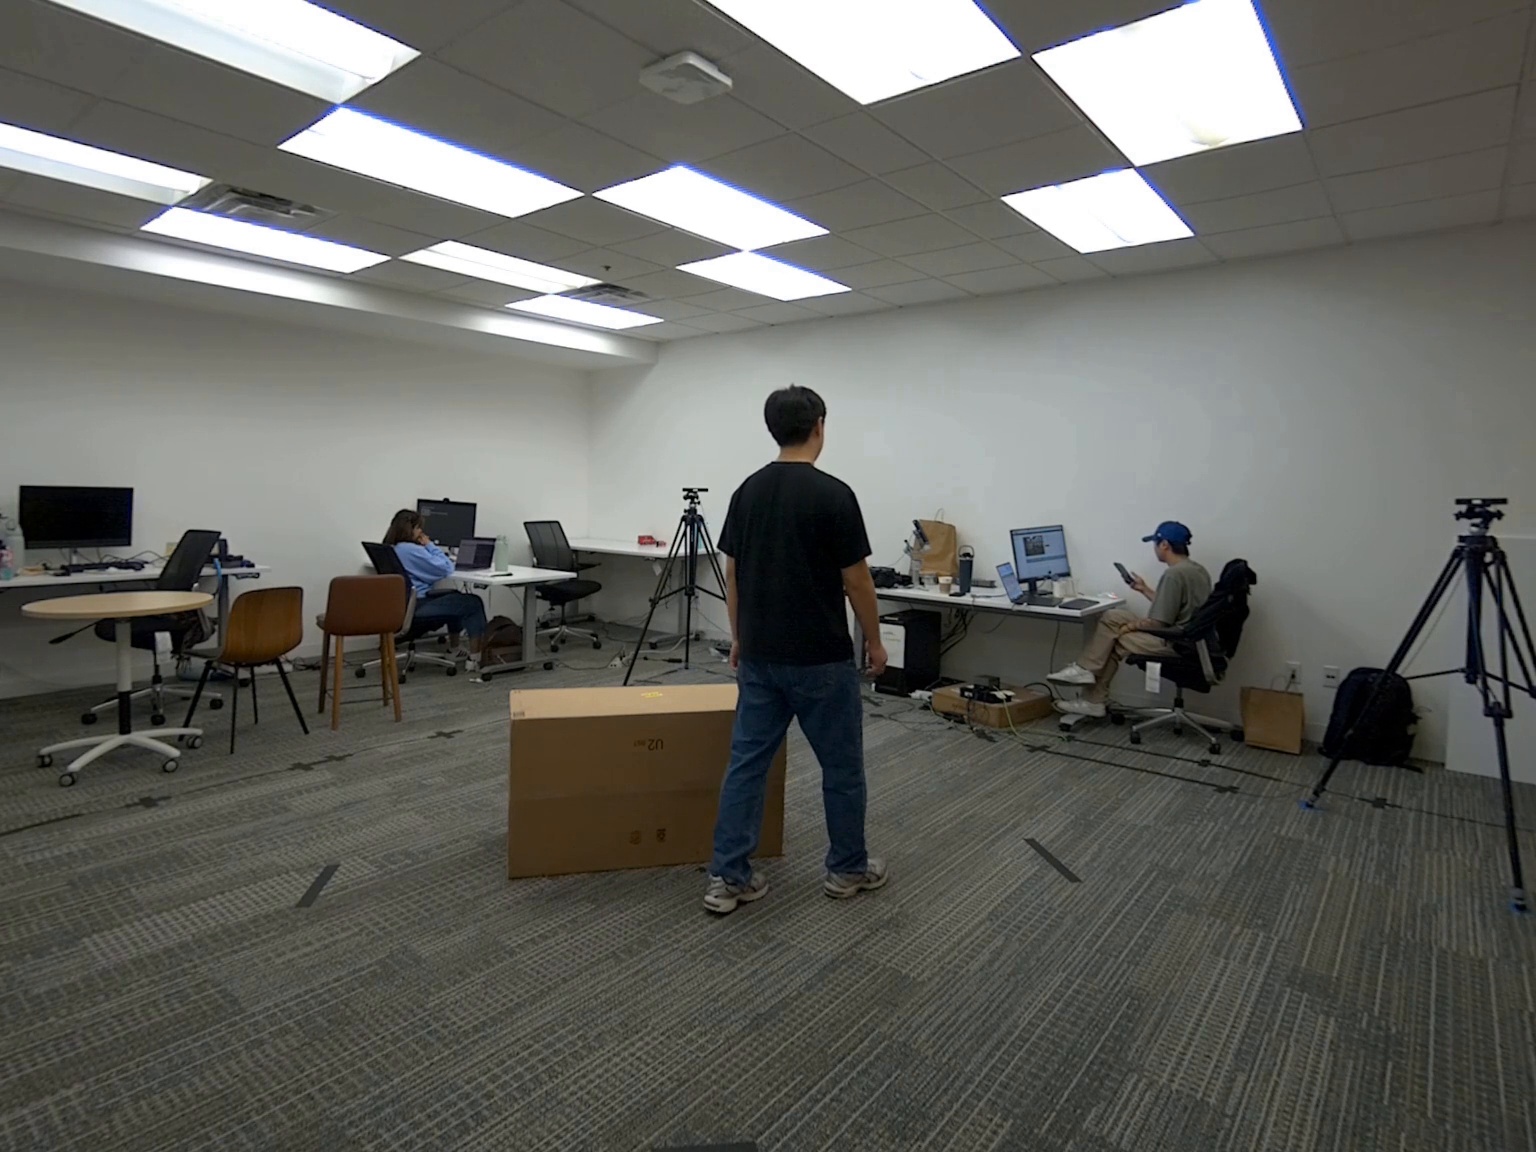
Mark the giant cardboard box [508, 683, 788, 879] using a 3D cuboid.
[{"bbox_3d":[-0.494,0.758,3.309,1.011,0.583,0.455,0,3,-15],"label":"giant cardboard box"}]
